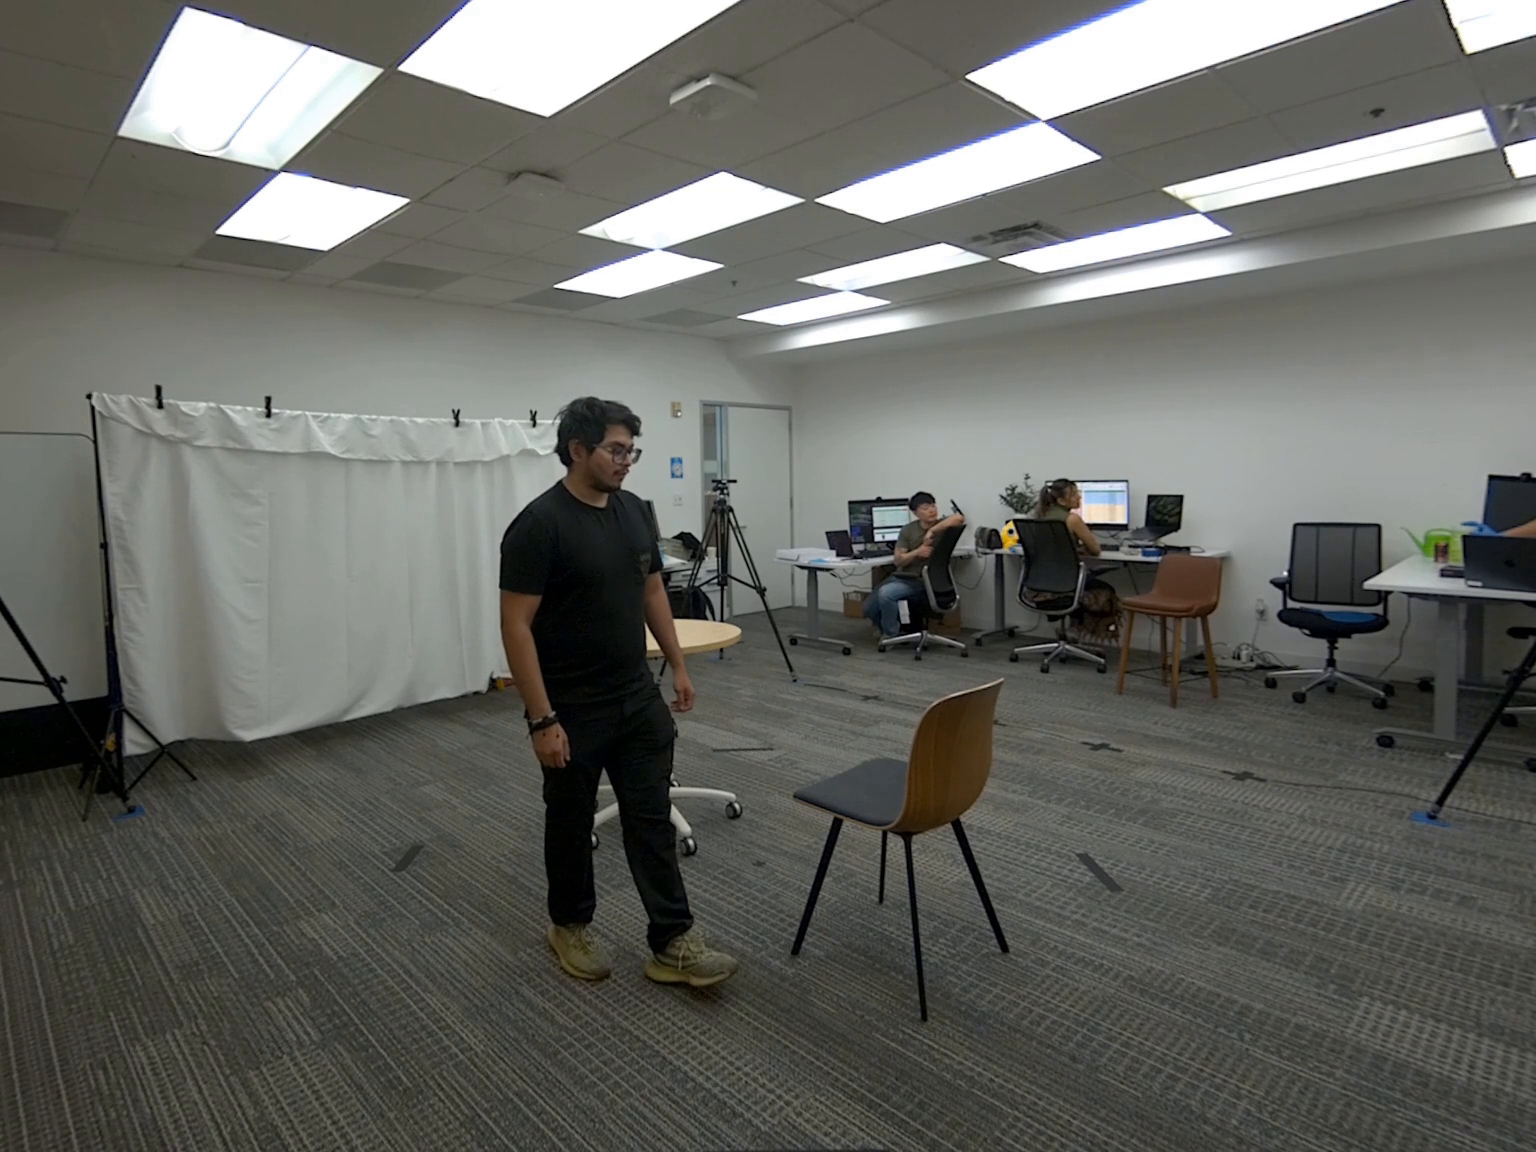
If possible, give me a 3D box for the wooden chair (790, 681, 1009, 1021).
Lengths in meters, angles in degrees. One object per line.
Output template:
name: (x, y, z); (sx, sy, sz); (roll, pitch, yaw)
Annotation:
wooden chair: (0.374, 0.681, 2.484); (0.540, 0.871, 0.465); (9, 11, 43)
